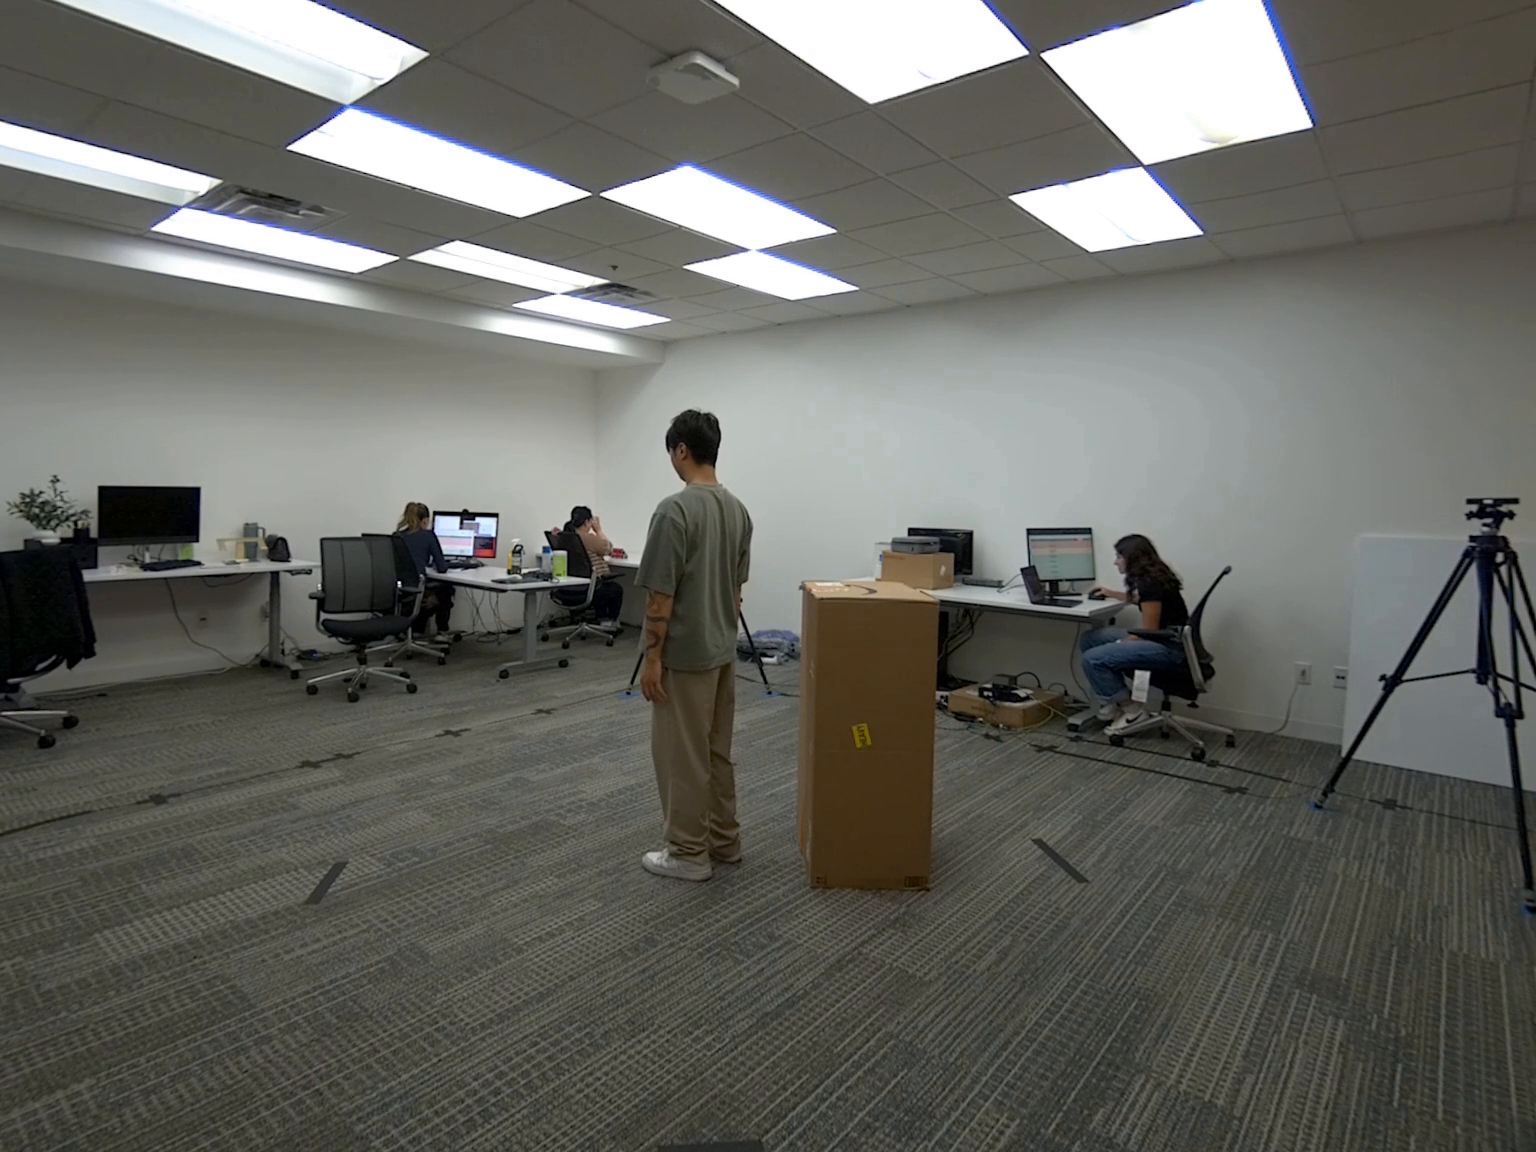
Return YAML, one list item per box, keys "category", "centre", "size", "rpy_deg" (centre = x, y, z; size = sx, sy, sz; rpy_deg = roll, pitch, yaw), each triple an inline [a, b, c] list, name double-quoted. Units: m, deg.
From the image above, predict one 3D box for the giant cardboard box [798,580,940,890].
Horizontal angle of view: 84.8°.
- category: "giant cardboard box"
  centre: [0.346, 0.556, 3.236]
  size: [0.425, 1.023, 0.581]
  rpy_deg: [1, 3, -3]
